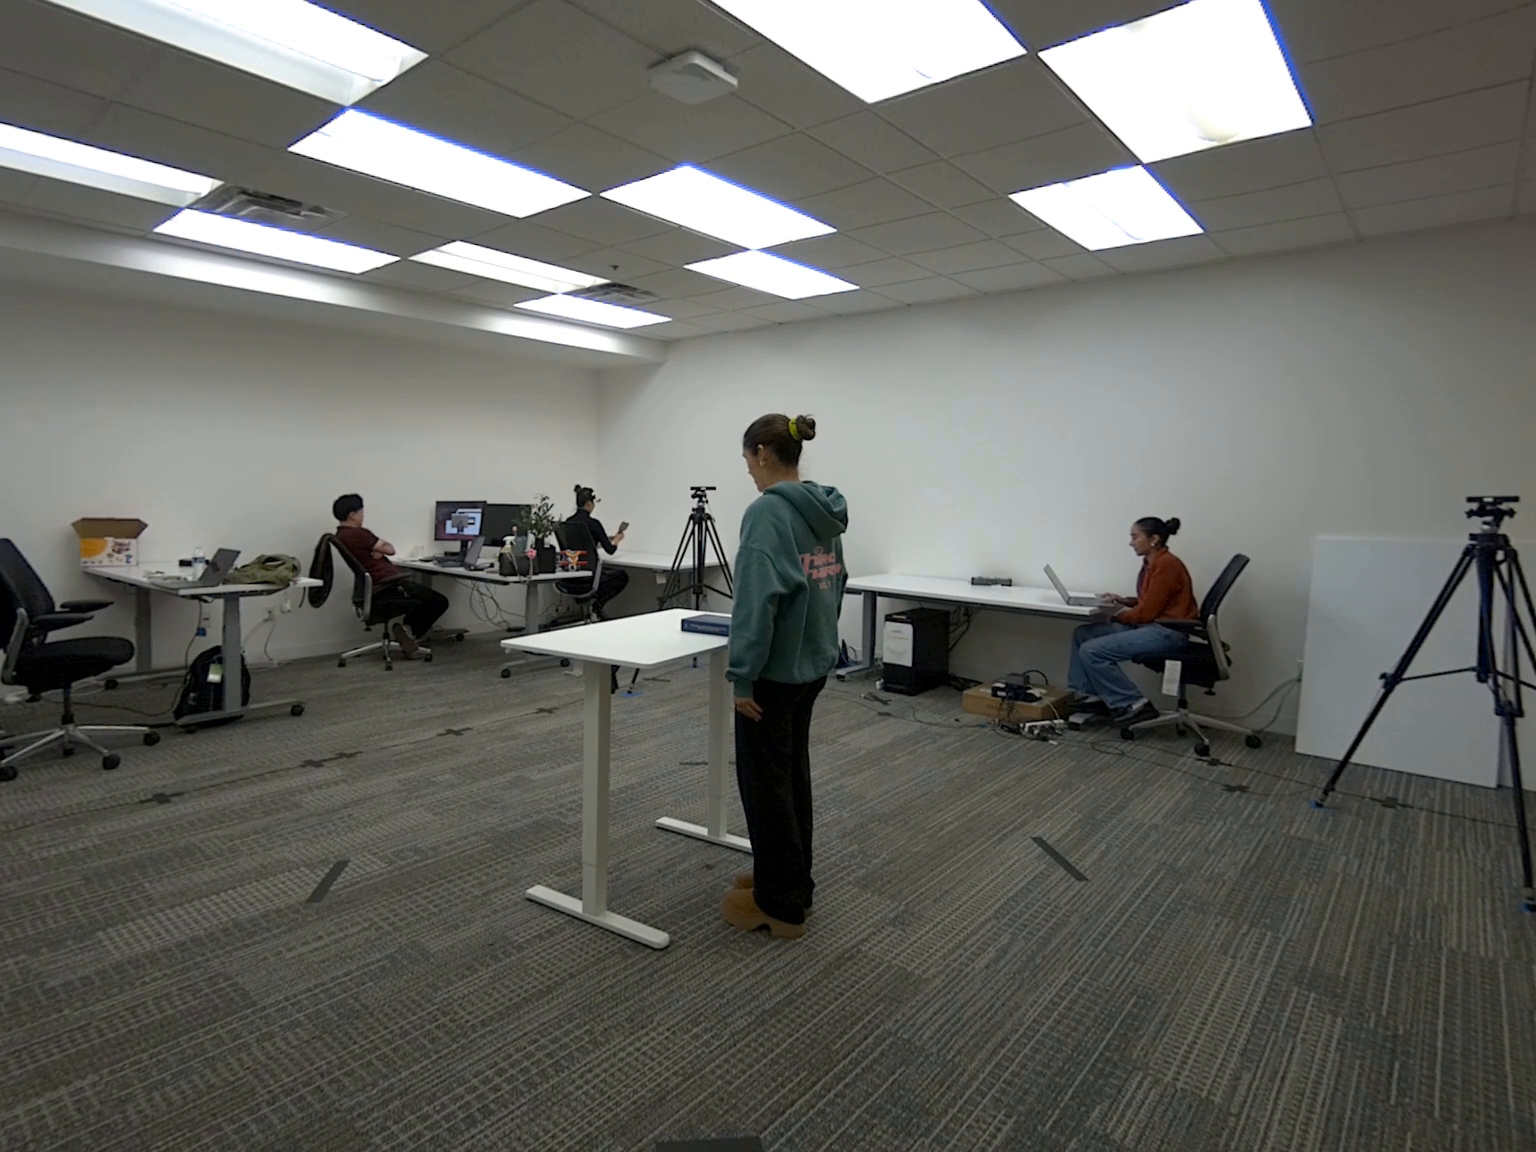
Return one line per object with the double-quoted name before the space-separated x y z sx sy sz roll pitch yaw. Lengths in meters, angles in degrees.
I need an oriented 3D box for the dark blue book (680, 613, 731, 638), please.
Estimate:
"dark blue book" -0.175 0.173 3.007 0.252 0.045 0.159 4 6 29
